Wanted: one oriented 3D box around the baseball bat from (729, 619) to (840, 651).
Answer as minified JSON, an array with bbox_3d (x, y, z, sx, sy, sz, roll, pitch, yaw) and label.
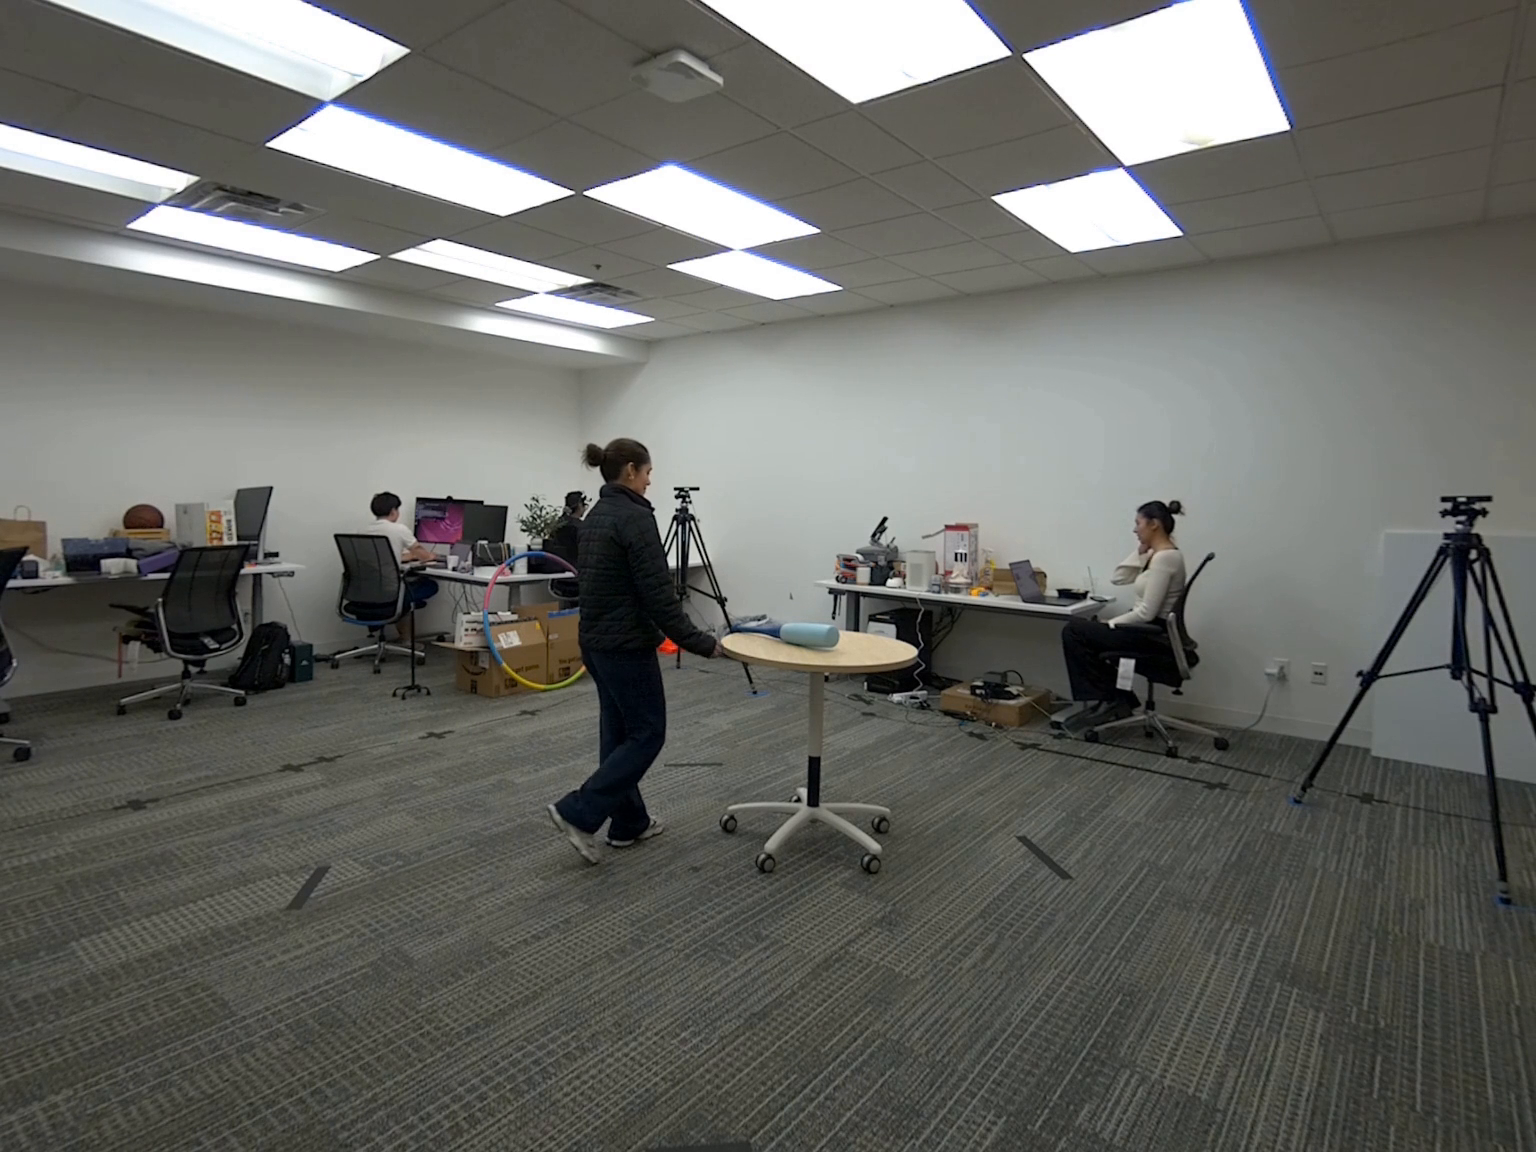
[{"bbox_3d":[0.064,0.226,3.392,0.086,0.089,0.560,-3,3,-44],"label":"baseball bat"}]
